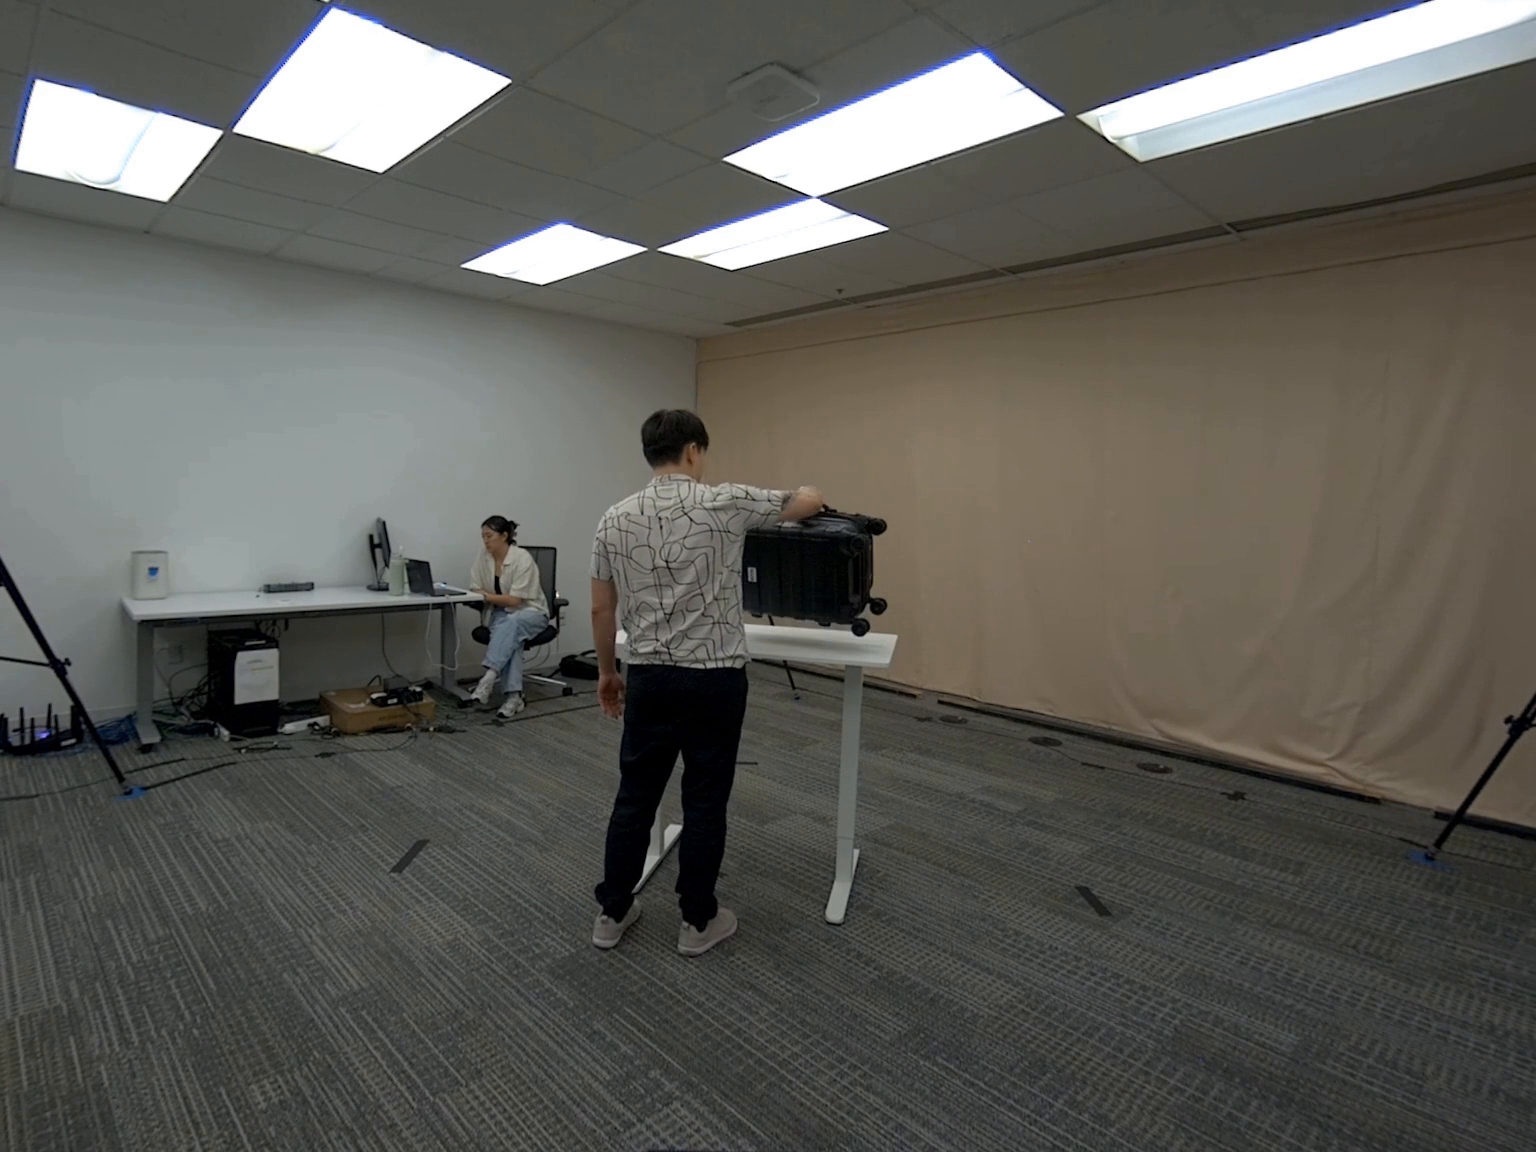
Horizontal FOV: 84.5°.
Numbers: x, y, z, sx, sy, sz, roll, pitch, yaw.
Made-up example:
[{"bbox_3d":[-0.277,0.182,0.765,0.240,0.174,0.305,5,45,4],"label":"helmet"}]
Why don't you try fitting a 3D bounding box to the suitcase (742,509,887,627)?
[{"bbox_3d":[0.111,-0.041,2.952,0.560,0.371,0.246,7,18,25],"label":"suitcase"}]
